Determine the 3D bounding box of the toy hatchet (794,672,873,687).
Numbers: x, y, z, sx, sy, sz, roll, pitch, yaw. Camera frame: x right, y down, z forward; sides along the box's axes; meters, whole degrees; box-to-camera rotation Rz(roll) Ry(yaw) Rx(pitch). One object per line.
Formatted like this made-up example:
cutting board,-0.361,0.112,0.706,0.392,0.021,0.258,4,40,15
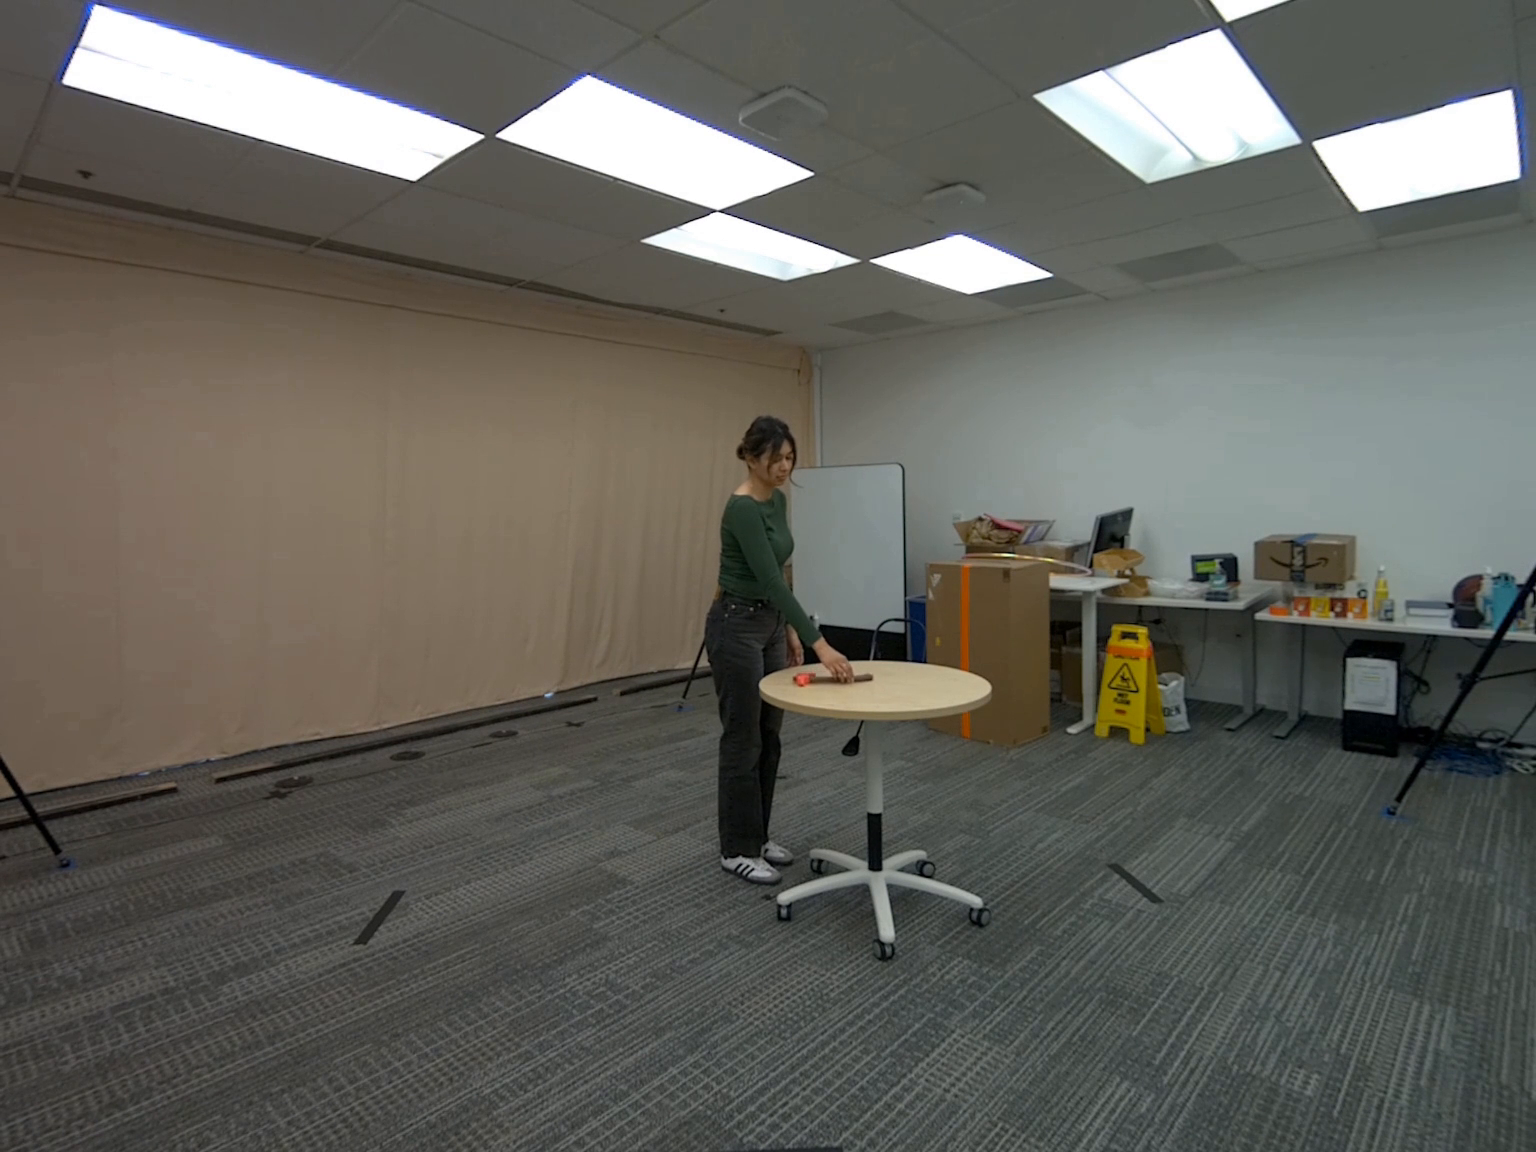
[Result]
toy hatchet,0.221,0.347,2.891,0.265,0.029,0.134,-3,7,-17
